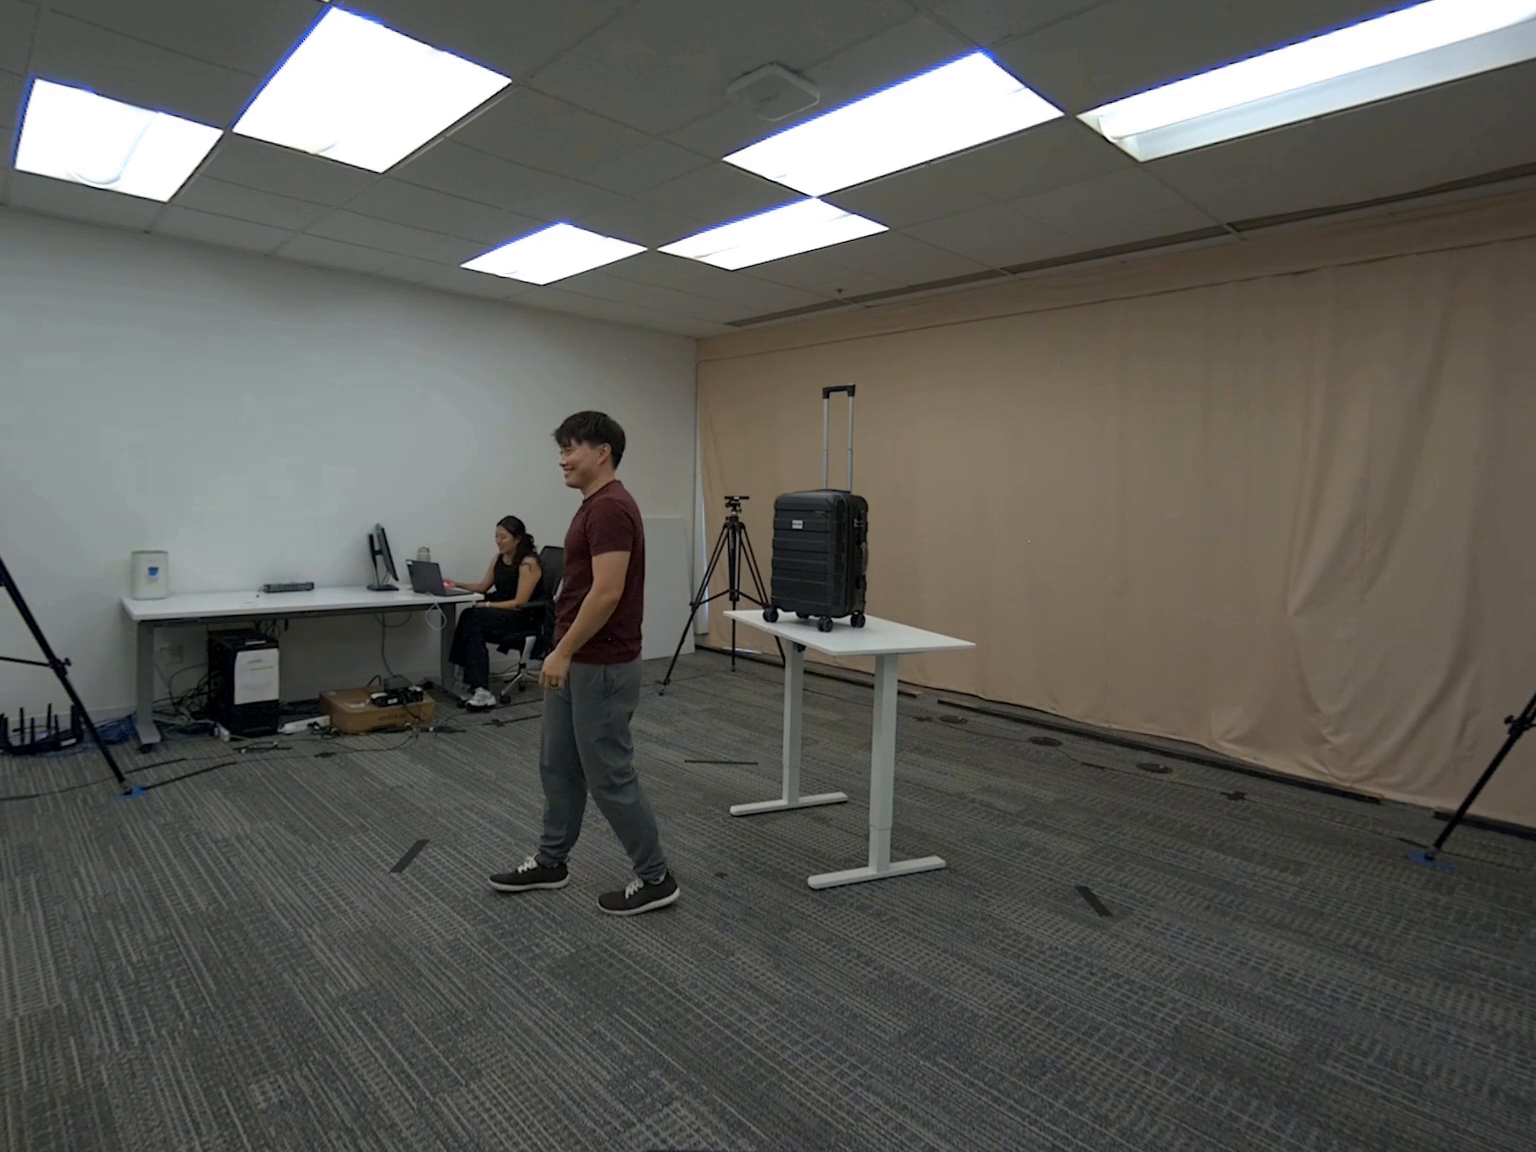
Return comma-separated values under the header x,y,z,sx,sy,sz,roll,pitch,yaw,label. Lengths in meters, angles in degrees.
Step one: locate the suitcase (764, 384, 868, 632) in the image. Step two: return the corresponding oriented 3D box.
x,y,z,sx,sy,sz,roll,pitch,yaw,label
0.209,-0.281,3.420,0.394,0.976,0.251,4,5,44,suitcase
